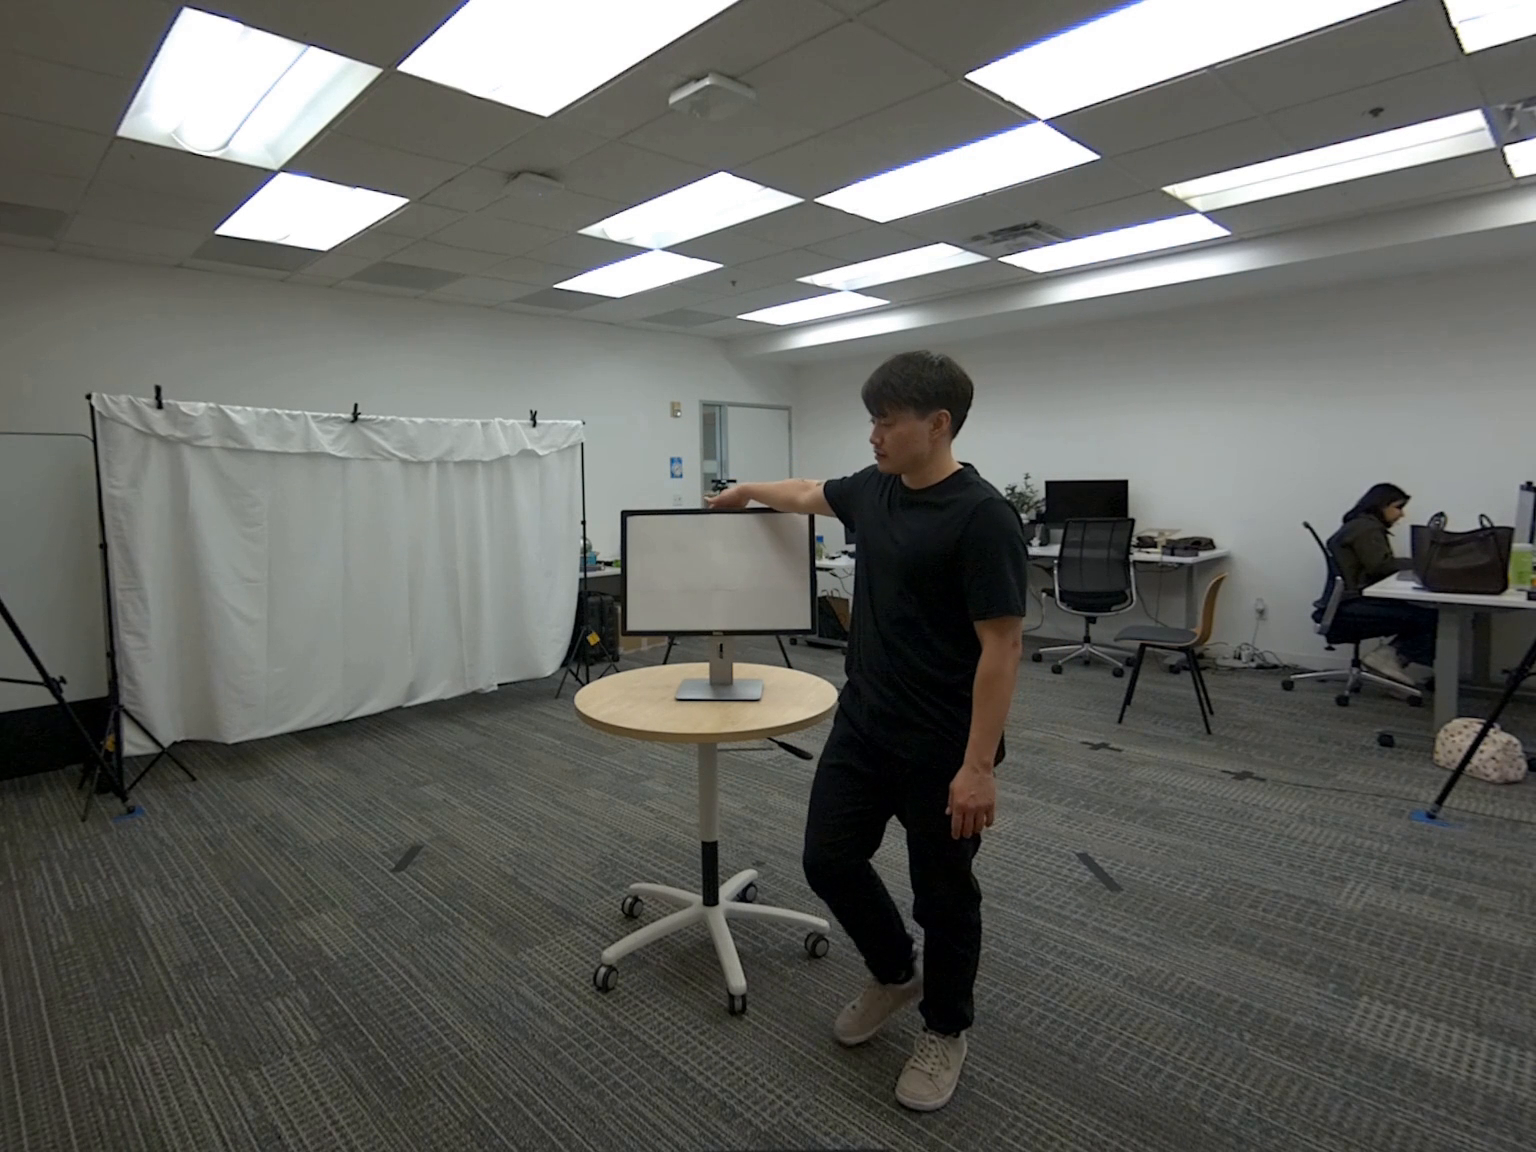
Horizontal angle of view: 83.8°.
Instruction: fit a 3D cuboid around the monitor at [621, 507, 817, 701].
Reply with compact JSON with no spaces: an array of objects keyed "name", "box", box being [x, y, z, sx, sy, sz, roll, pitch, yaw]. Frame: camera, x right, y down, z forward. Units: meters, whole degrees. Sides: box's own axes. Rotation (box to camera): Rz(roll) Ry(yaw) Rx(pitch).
[{"name":"monitor","box":[-0.142,0.077,2.488,0.540,0.520,0.187,-1,6,3]}]
